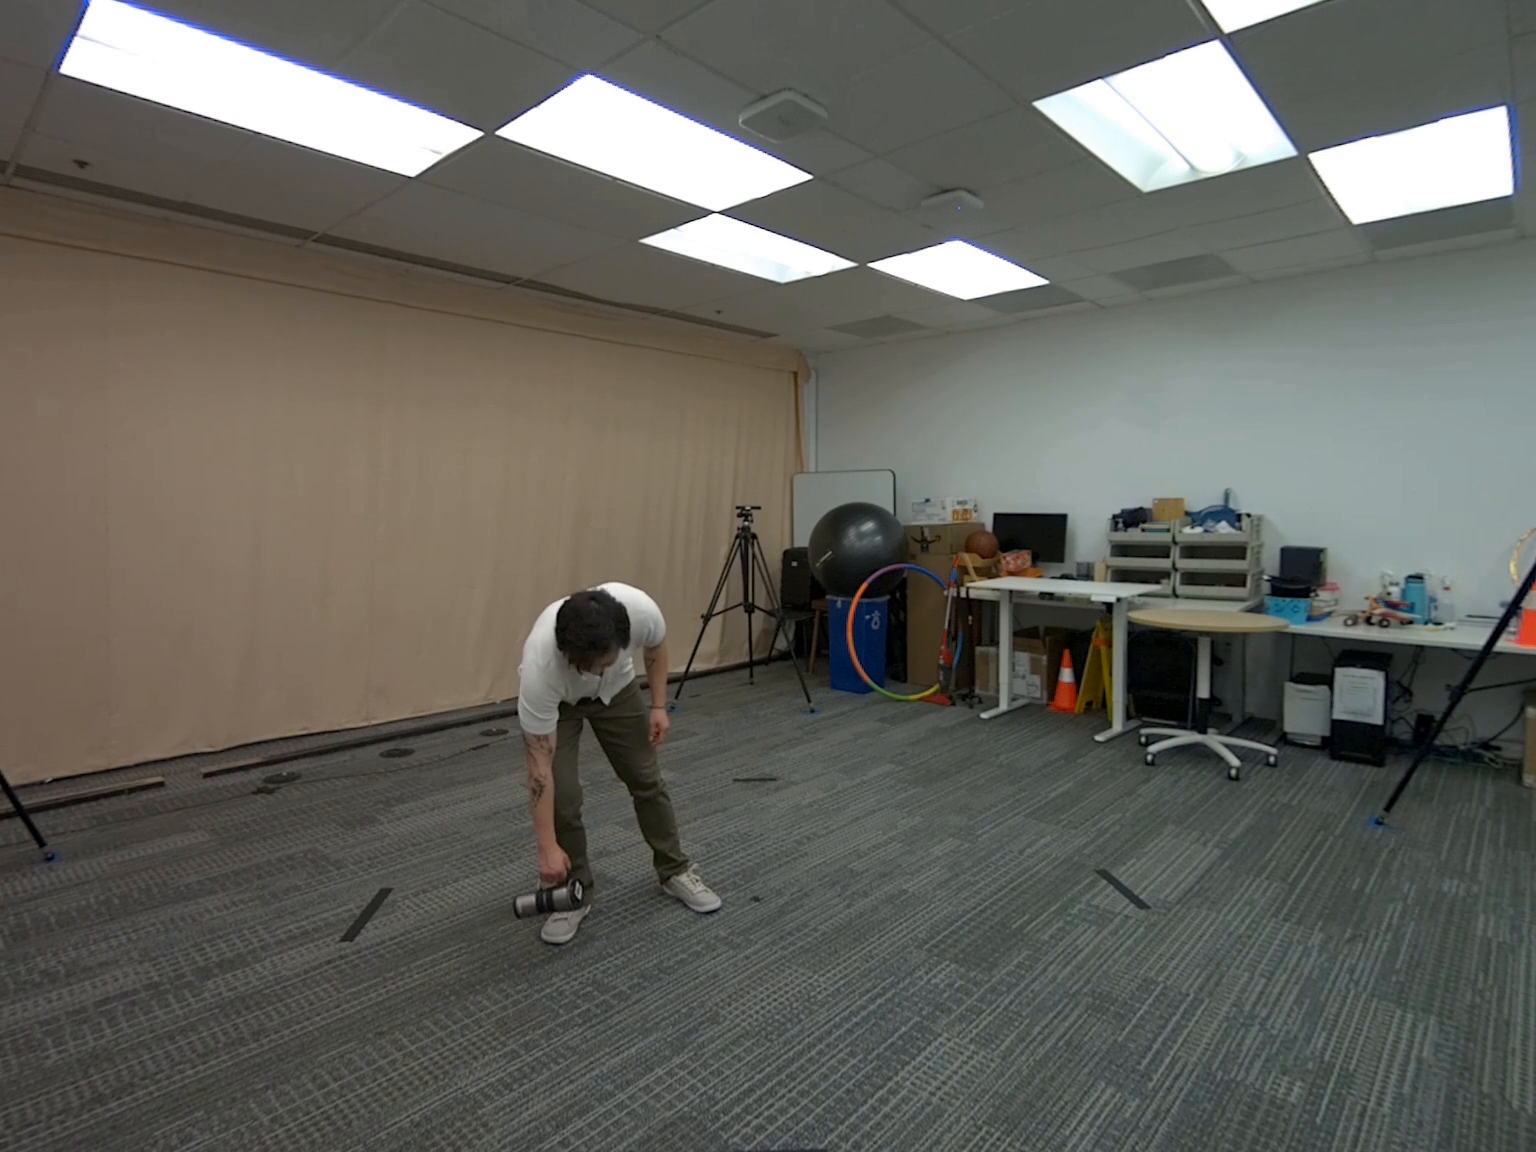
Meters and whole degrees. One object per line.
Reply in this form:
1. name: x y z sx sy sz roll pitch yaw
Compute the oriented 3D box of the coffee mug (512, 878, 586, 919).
1. coffee mug: -0.662 0.949 2.548 0.205 0.124 0.085 -13 -24 13
